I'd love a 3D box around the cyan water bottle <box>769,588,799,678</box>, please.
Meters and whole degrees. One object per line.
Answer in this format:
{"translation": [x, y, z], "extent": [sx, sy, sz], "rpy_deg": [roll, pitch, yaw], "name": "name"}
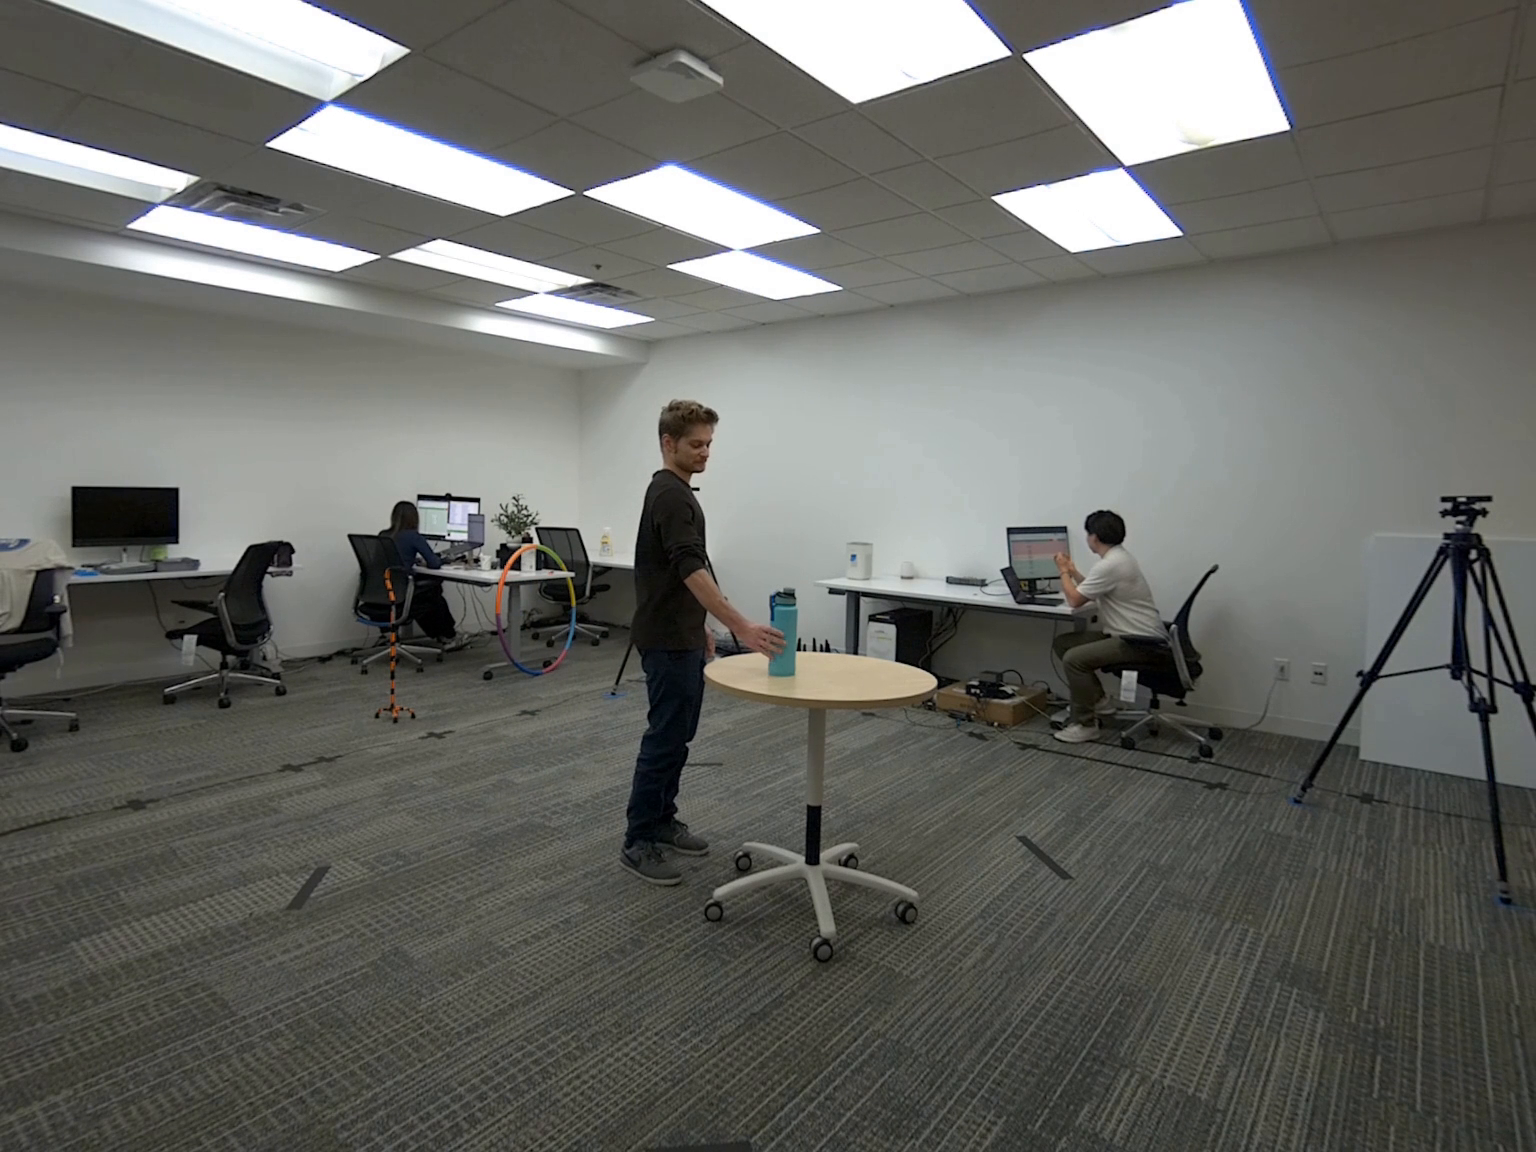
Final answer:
{"translation": [0.042, 0.179, 2.791], "extent": [0.092, 0.282, 0.093], "rpy_deg": [-1, 4, -2], "name": "cyan water bottle"}
